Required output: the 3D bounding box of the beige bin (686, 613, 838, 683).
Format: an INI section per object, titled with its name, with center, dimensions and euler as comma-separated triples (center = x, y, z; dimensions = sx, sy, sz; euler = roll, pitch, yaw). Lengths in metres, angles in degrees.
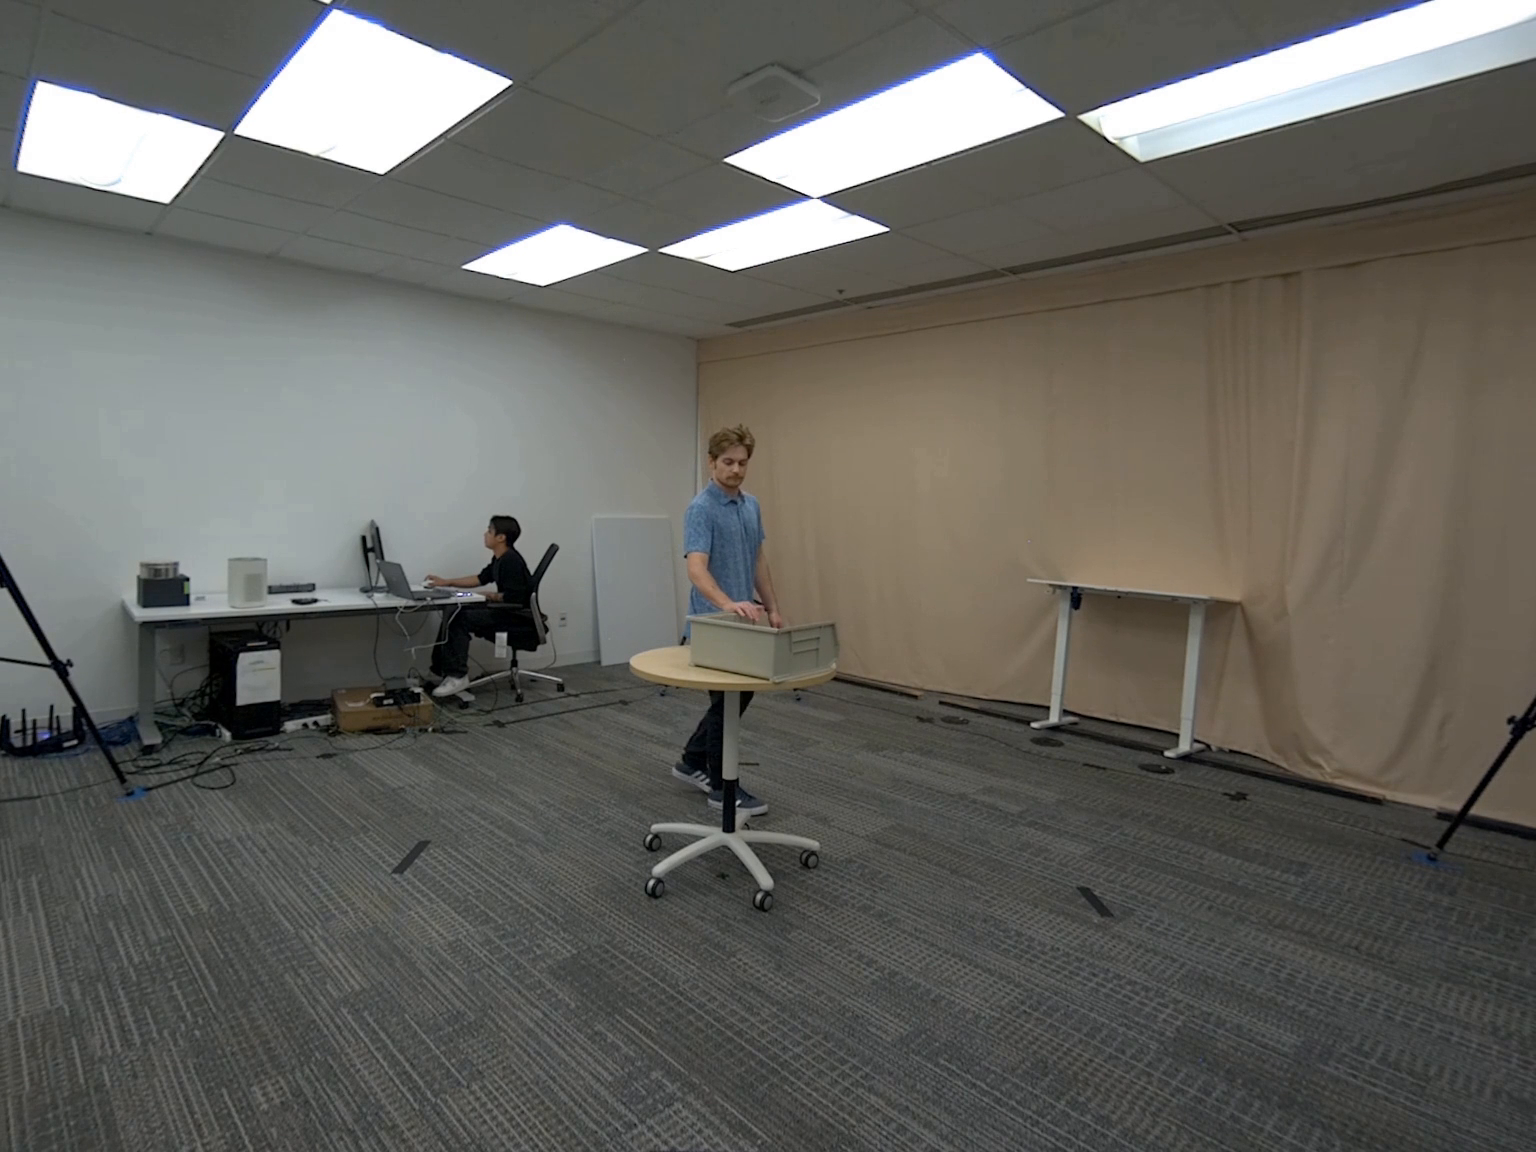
[beige bin]
center = -0.025, 0.239, 3.036
dimensions = 0.433, 0.188, 0.369
euler = 6, 8, 40
